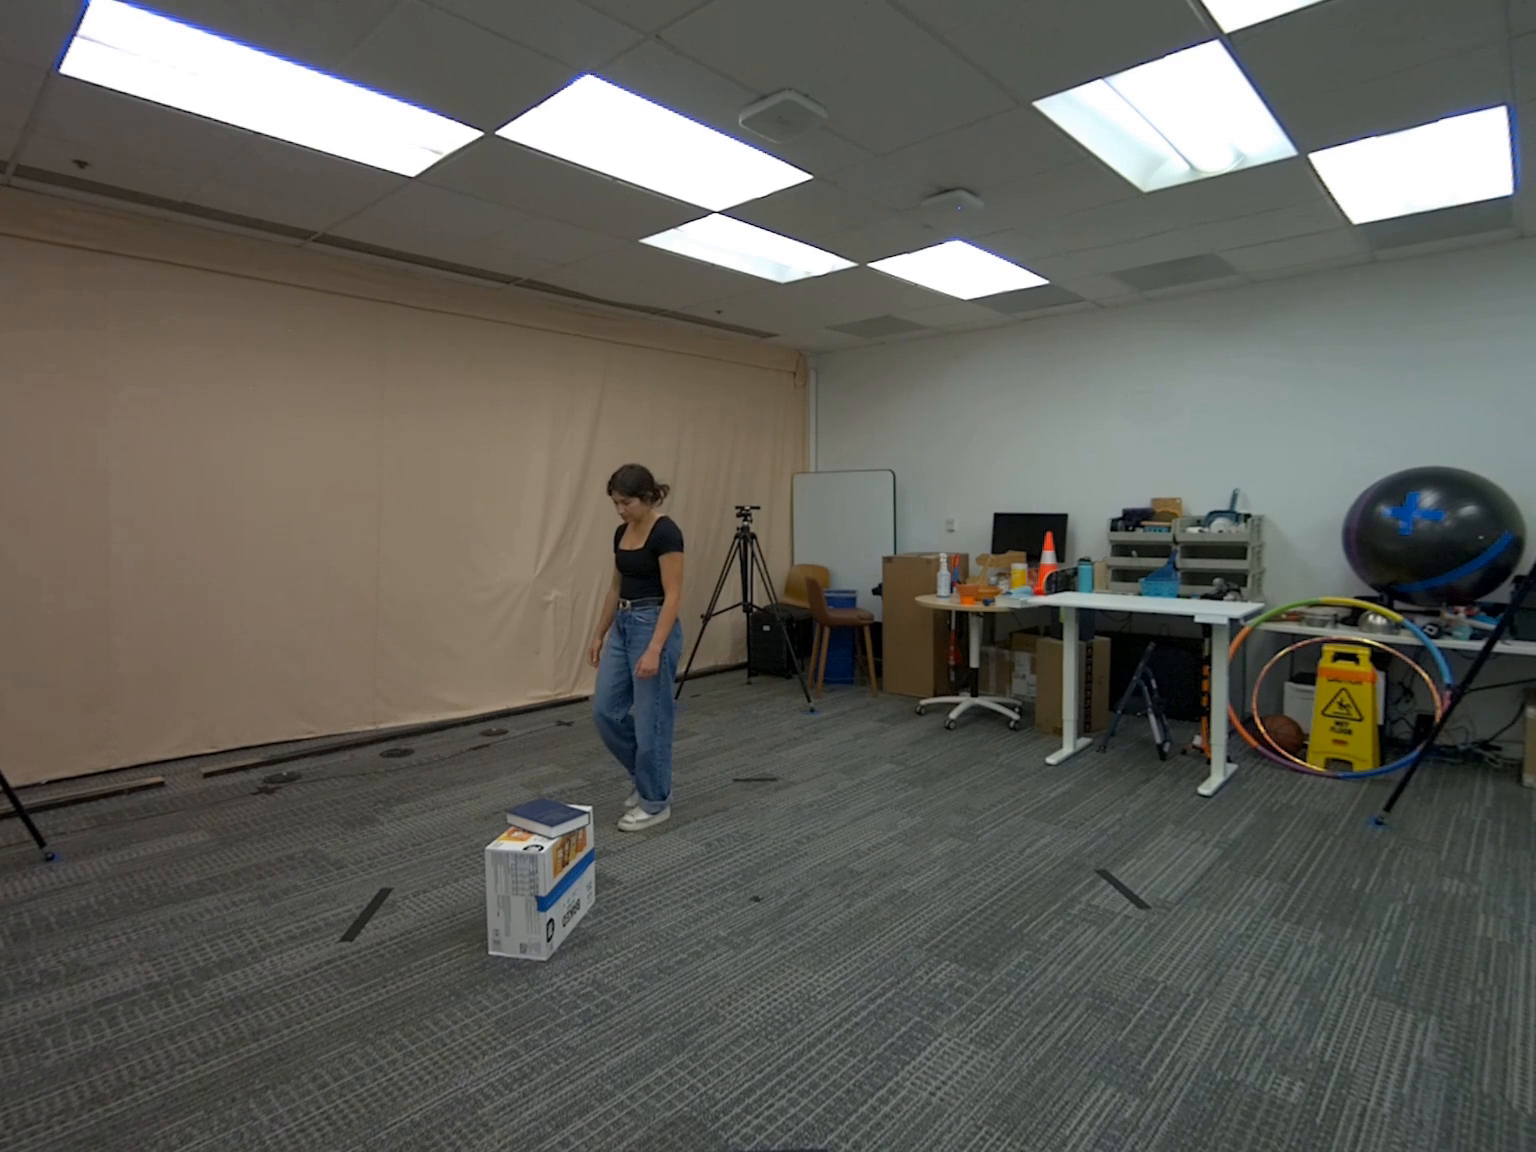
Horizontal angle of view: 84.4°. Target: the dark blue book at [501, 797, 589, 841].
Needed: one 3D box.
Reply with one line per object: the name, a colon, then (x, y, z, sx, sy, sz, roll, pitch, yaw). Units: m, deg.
dark blue book: (-0.740, 0.798, 2.802, 0.253, 0.045, 0.159, 2, 6, 38)
